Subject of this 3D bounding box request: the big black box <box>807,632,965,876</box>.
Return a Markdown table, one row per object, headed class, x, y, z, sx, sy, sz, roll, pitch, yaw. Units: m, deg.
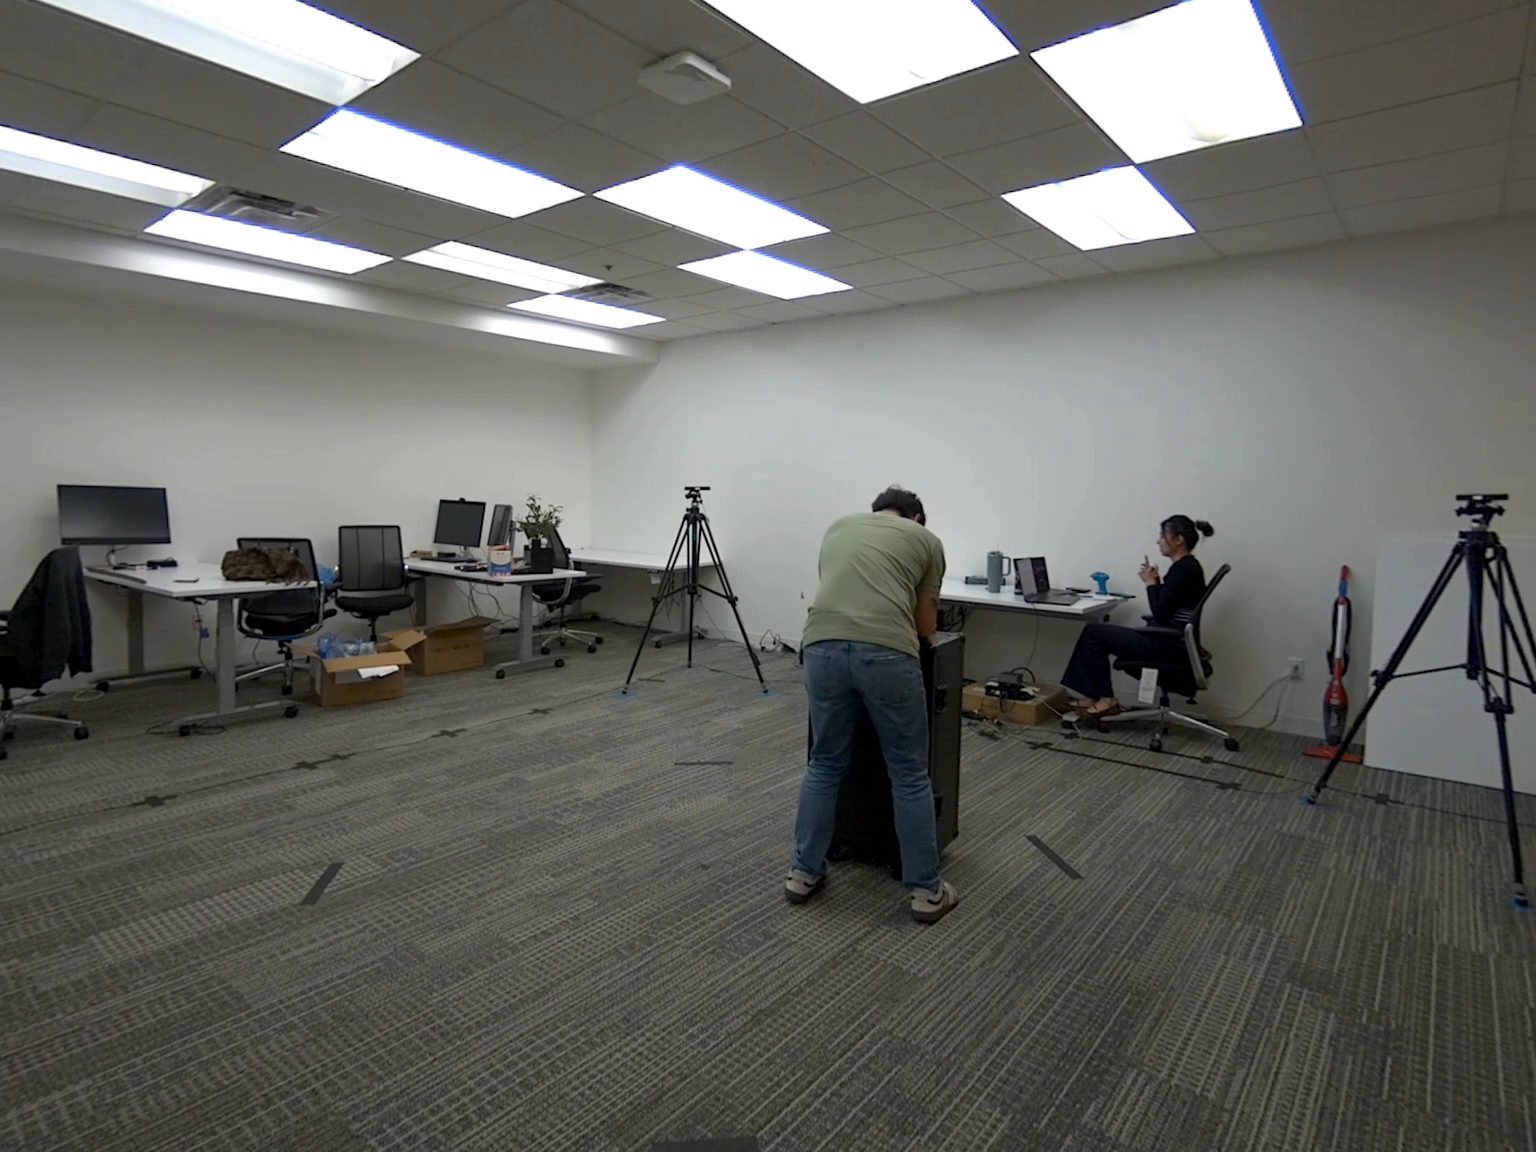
| class | x | y | z | sx | sy | sz | roll | pitch | yaw |
| --- | --- | --- | --- | --- | --- | --- | --- | --- | --- |
| big black box | 0.443 | 0.636 | 3.258 | 0.537 | 0.860 | 0.385 | 3 | 3 | 31 |
